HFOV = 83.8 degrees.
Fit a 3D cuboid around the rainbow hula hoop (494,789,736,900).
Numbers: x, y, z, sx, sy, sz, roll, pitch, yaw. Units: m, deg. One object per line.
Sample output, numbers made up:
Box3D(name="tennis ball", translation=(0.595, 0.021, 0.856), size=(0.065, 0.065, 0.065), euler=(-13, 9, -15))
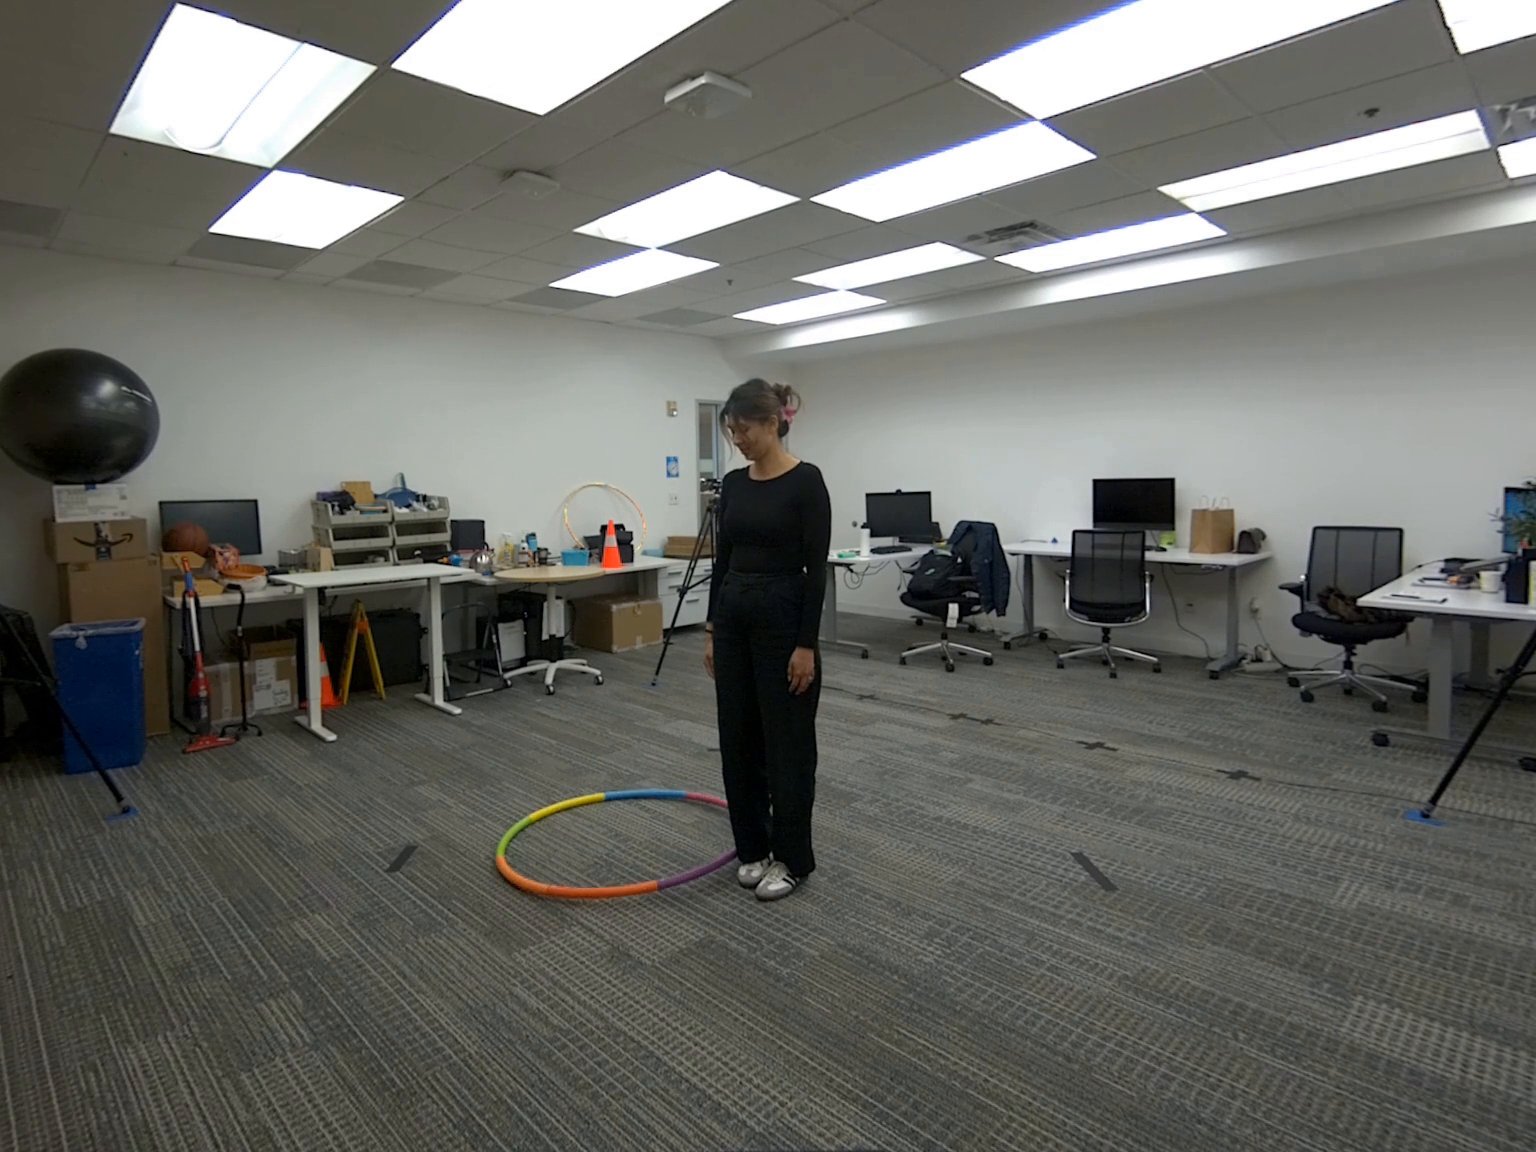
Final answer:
Box3D(name="rainbow hula hoop", translation=(-0.540, 0.996, 3.296), size=(0.985, 0.051, 0.990), euler=(-2, 6, -1))
